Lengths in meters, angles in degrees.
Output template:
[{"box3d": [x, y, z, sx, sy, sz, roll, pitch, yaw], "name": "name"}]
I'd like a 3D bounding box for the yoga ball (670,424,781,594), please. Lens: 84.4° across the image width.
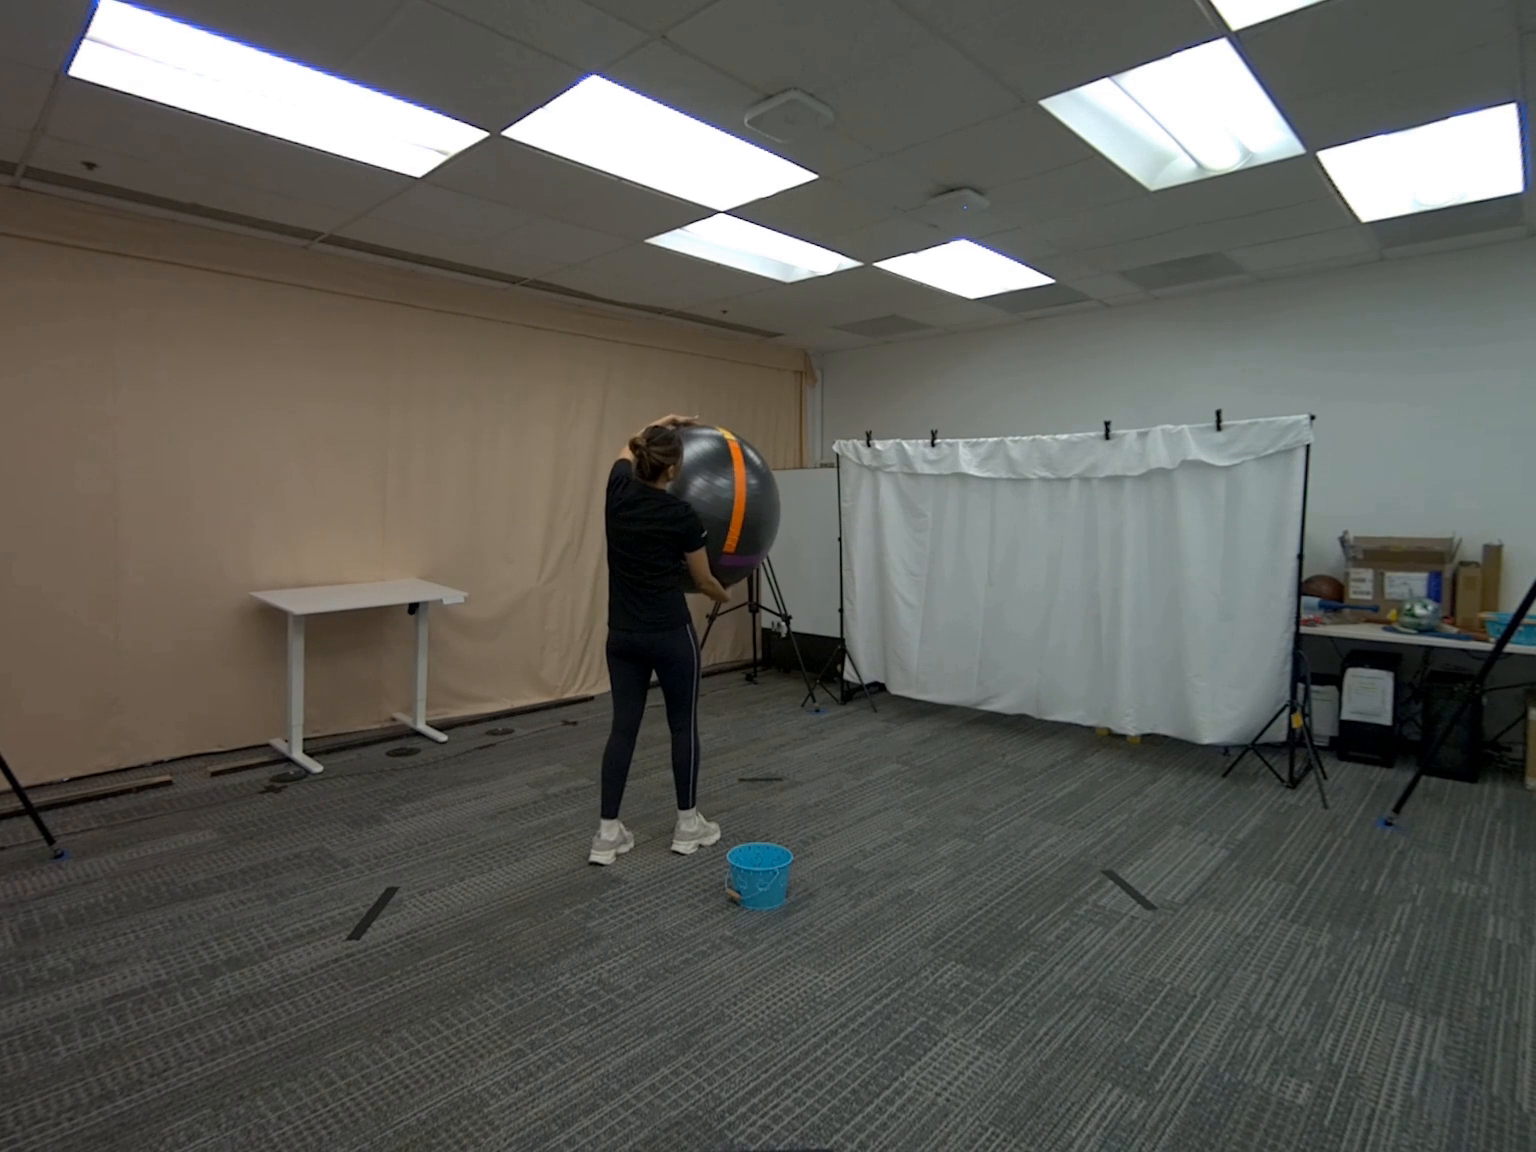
[{"box3d": [-0.322, -0.295, 3.805, 0.757, 0.756, 0.761, 0, 4, -2], "name": "yoga ball"}]
